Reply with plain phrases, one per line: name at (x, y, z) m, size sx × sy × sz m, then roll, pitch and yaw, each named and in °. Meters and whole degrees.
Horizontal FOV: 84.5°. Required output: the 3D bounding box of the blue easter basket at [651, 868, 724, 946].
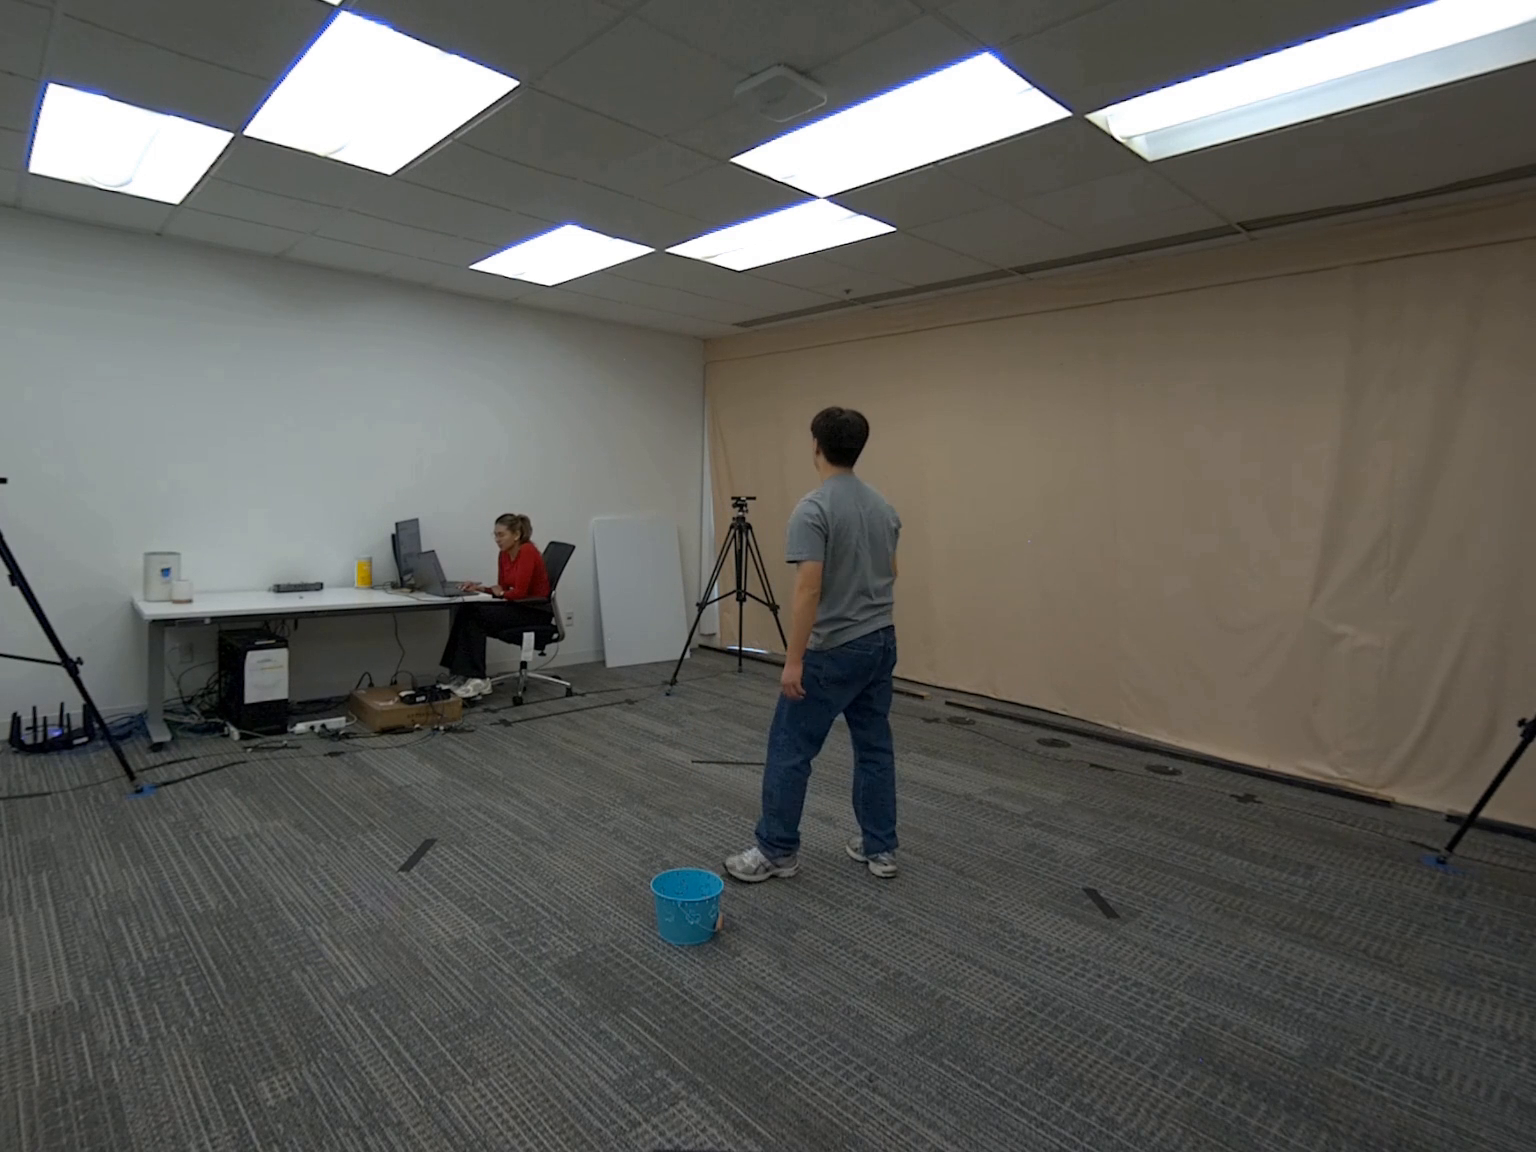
blue easter basket at (-0.264, 1.062, 2.695) m, size 0.243 × 0.155 × 0.244 m, roll 1°, pitch 4°, yaw -1°
